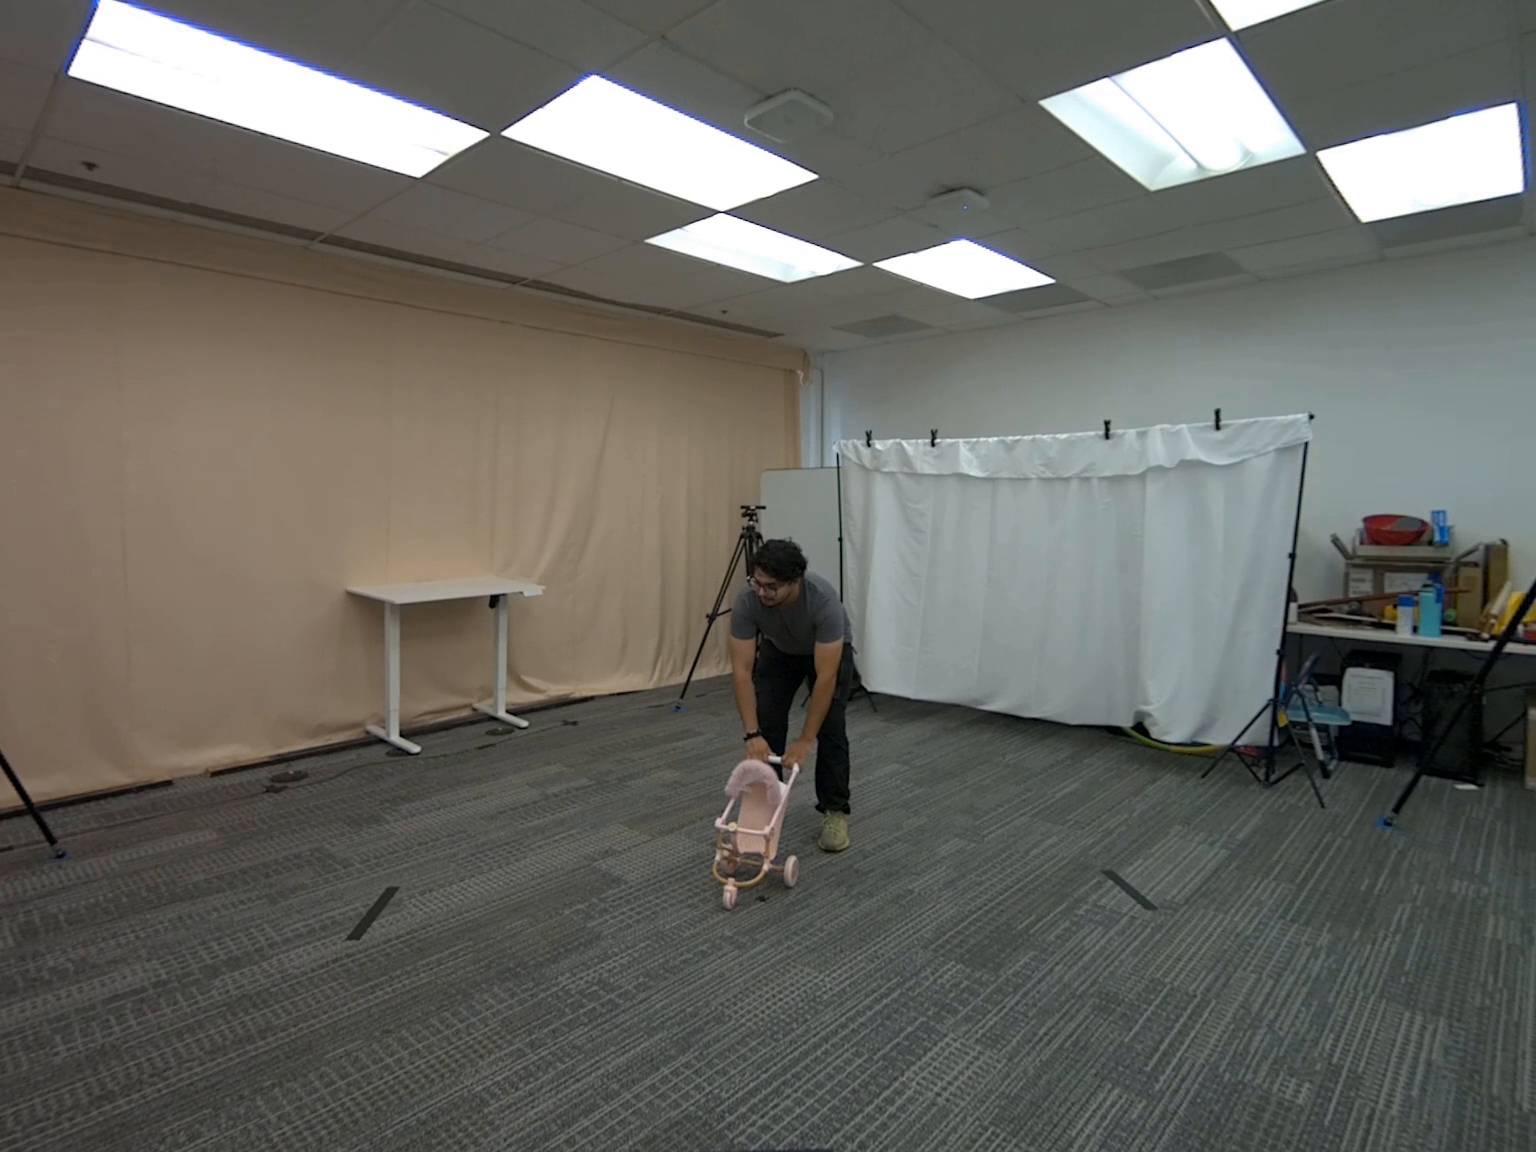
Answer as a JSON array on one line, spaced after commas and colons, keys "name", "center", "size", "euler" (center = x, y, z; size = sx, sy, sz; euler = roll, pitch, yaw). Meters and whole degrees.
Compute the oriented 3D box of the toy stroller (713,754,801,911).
[{"name": "toy stroller", "center": [-0.058, 0.915, 3.073], "size": [0.289, 0.538, 0.330], "euler": [1, -14, 29]}]
